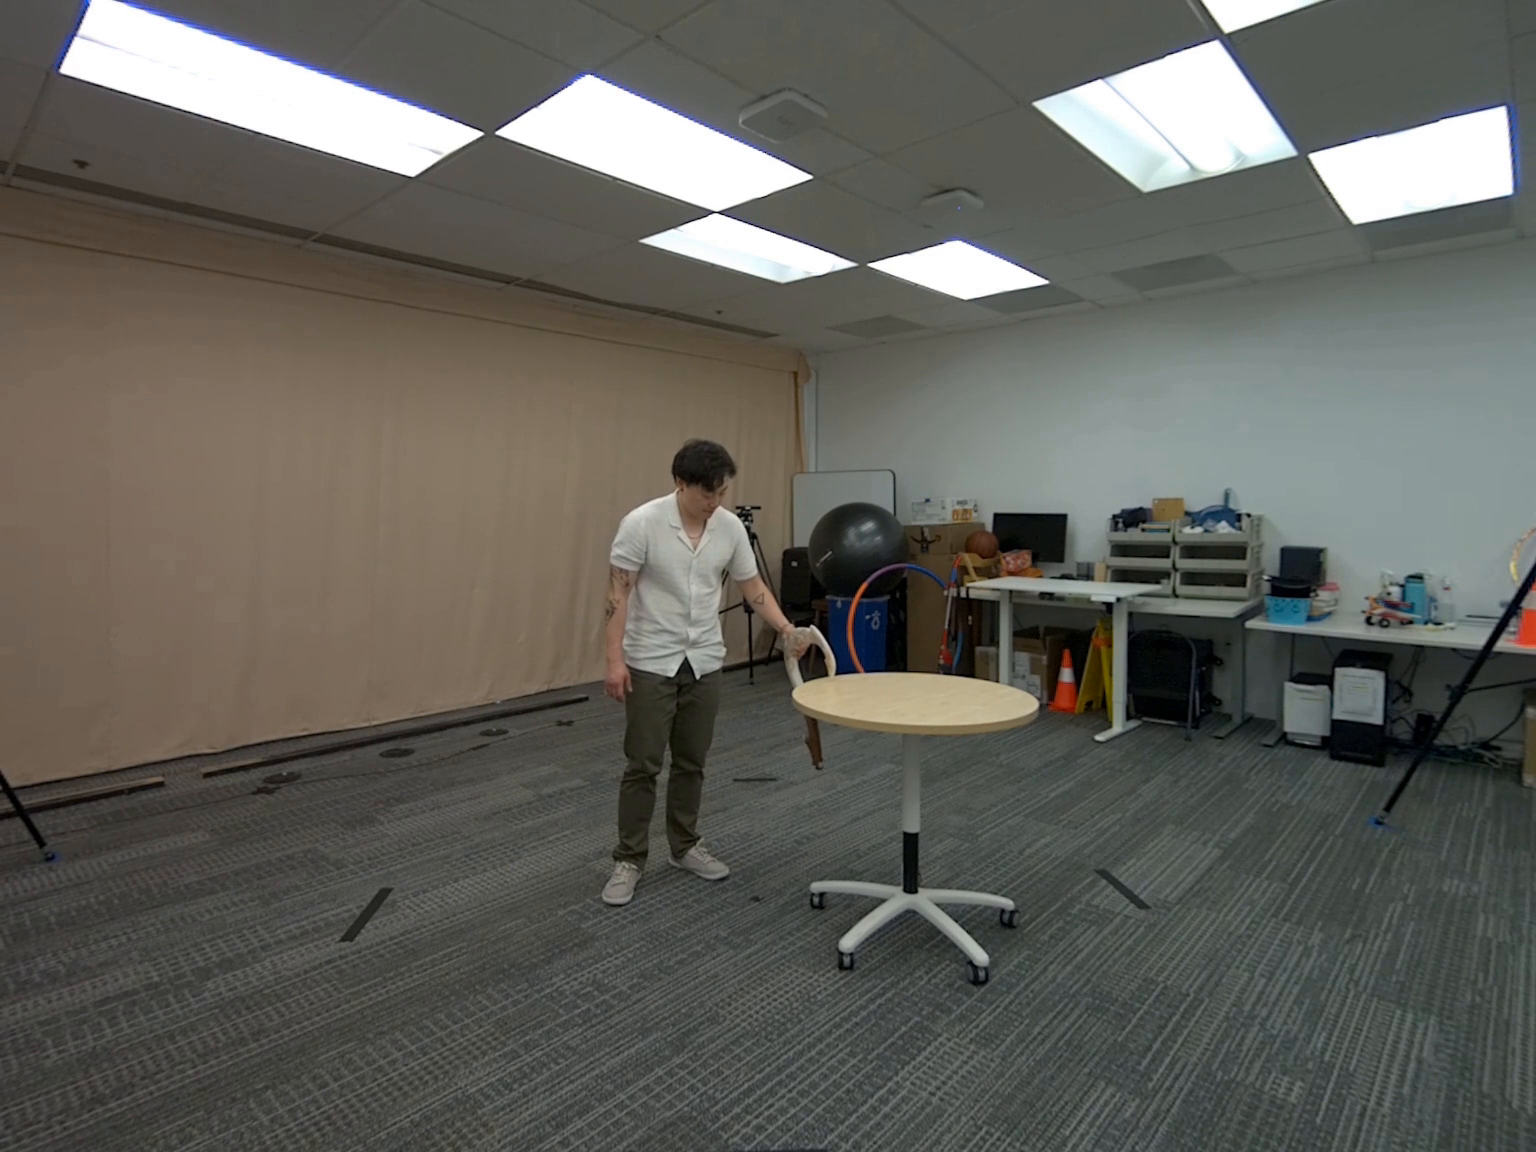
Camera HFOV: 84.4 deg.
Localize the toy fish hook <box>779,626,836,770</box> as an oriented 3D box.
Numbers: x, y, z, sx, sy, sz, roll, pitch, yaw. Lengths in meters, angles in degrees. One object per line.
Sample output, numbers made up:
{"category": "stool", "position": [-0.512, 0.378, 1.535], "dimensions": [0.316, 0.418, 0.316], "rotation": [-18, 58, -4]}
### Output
{"category": "toy fish hook", "position": [0.178, 0.434, 2.977], "dimensions": [0.047, 0.509, 0.230], "rotation": [-7, -7, -42]}
